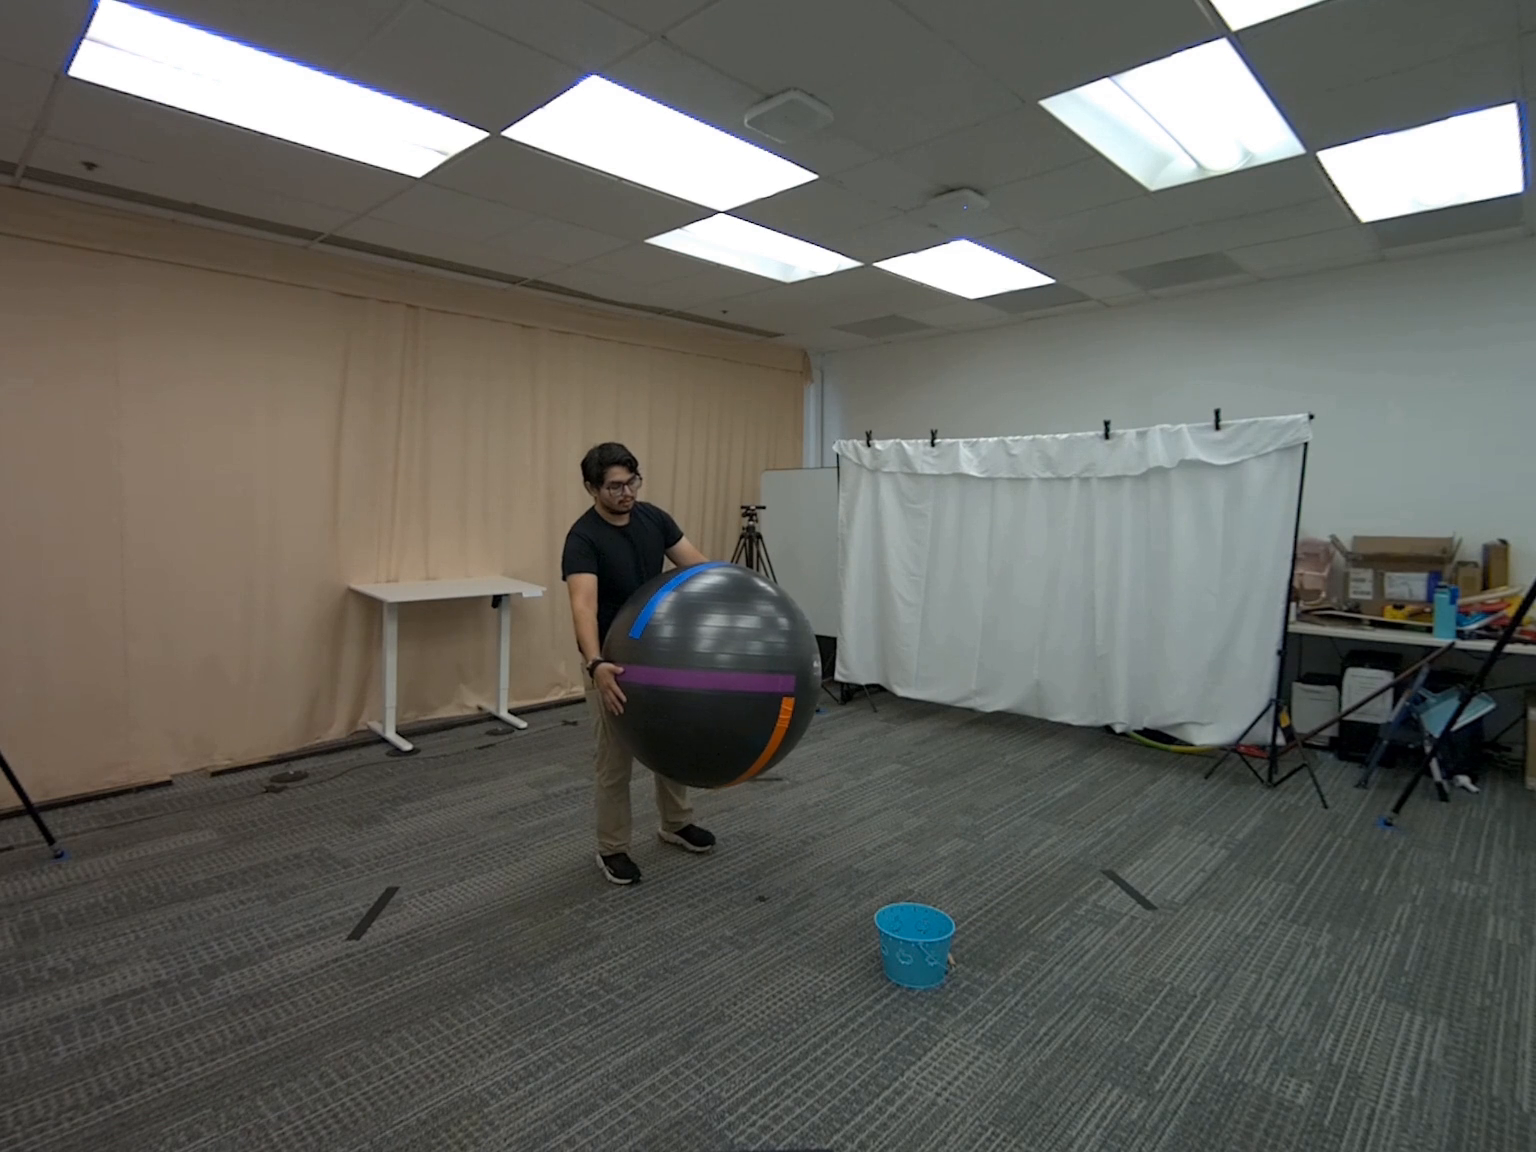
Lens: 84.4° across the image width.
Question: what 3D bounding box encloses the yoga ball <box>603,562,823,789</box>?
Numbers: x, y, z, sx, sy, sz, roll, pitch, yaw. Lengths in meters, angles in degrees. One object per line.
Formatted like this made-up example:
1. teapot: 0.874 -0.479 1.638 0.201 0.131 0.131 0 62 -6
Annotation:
1. yoga ball: -0.191 0.343 2.888 0.757 0.756 0.761 0 4 -2
